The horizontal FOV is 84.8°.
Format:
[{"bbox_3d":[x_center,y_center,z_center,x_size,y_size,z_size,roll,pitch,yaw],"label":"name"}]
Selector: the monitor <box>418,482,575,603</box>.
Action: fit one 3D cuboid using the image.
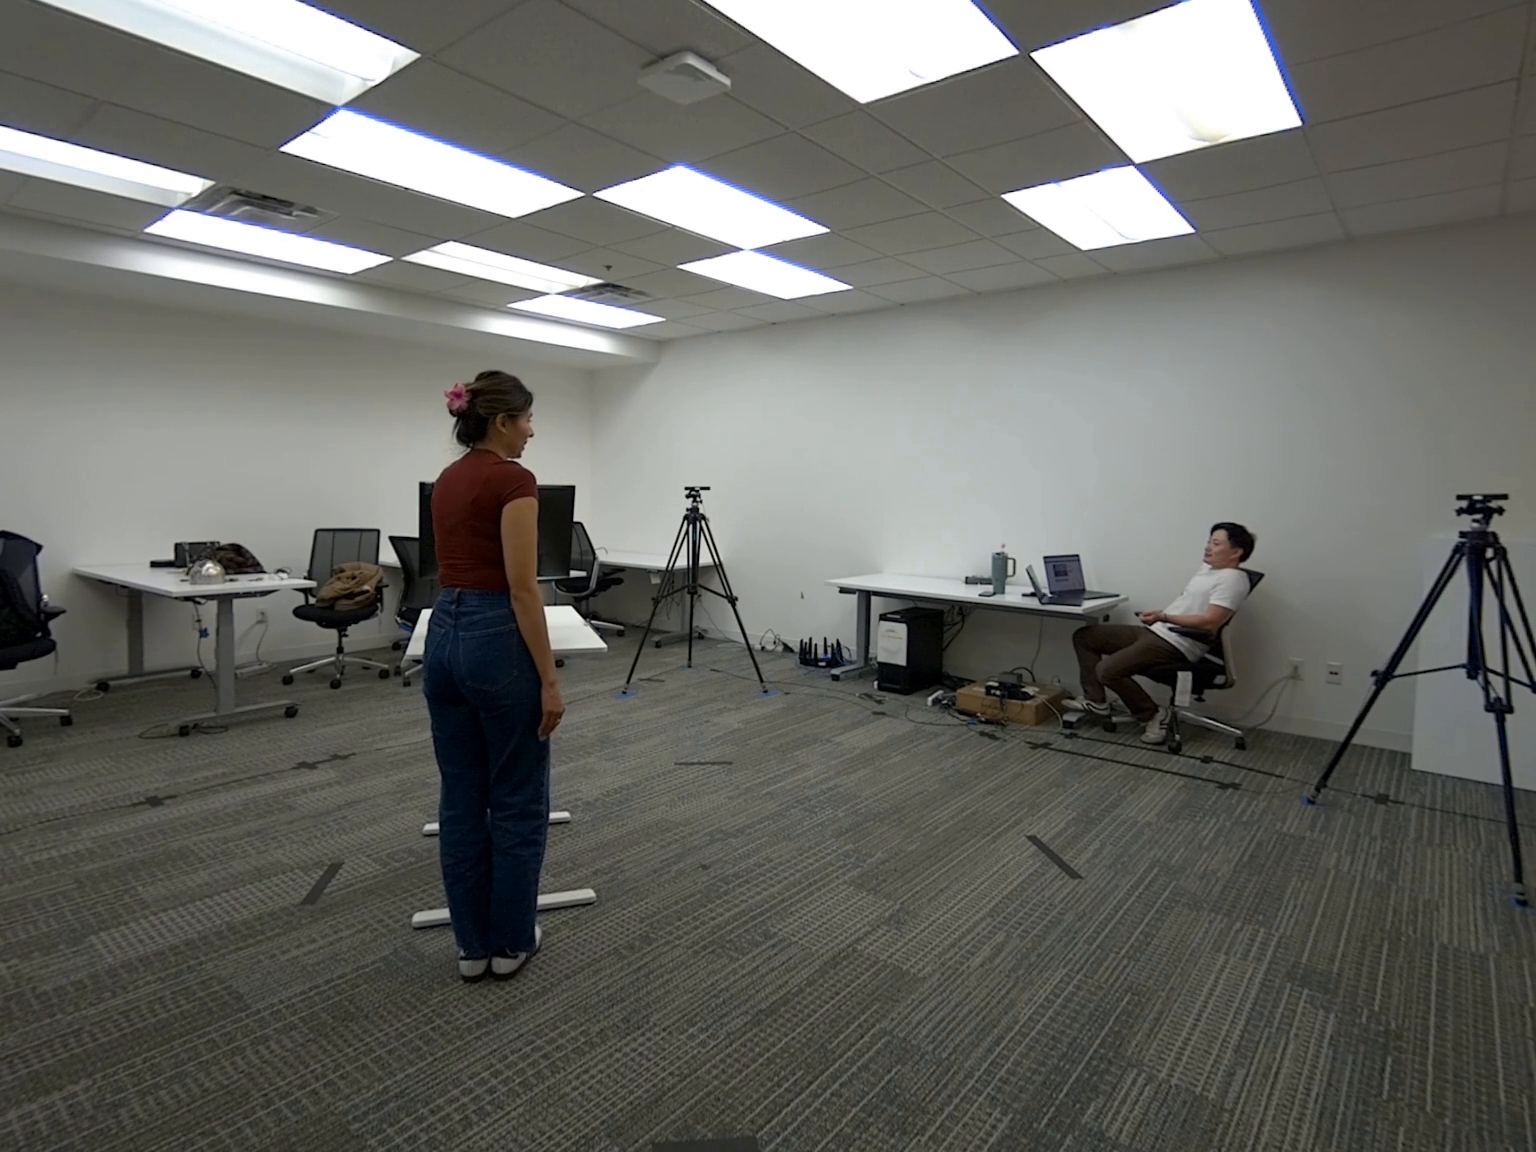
[{"bbox_3d":[-0.967,-0.071,3.002,0.527,0.520,0.192,0,5,-22],"label":"monitor"}]
